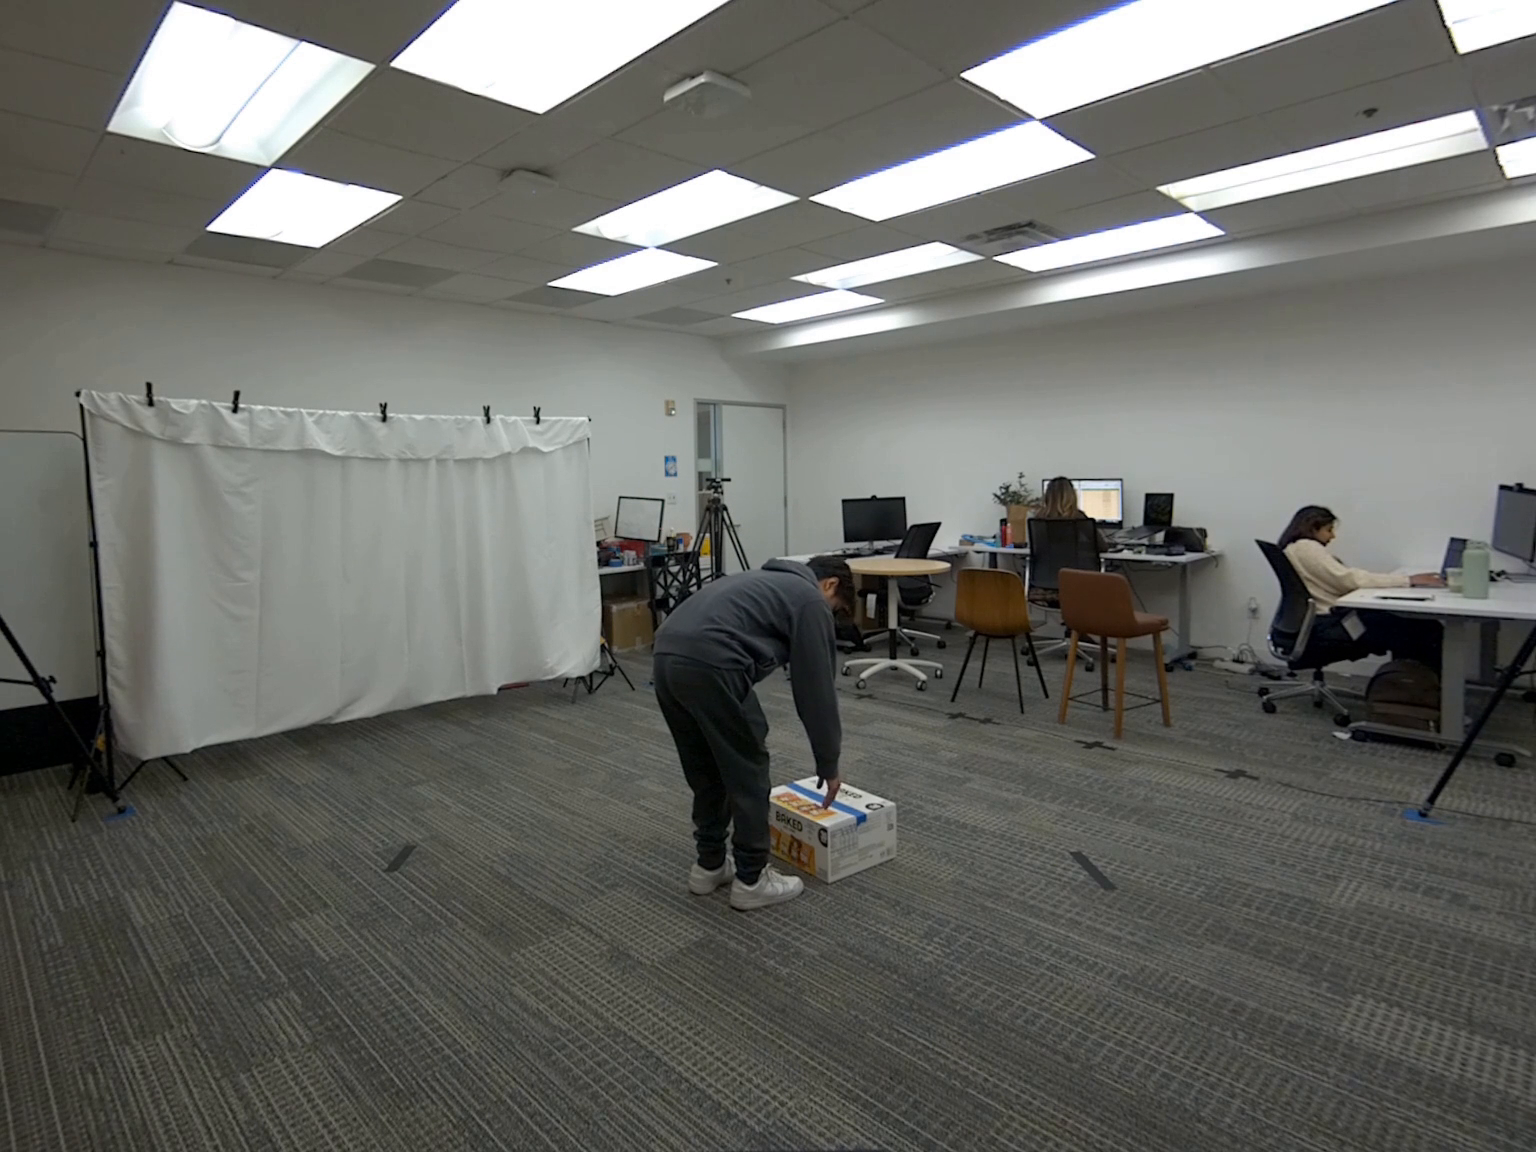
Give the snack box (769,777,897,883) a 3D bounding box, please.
[{"bbox_3d":[0.213,0.929,3.179,0.332,0.205,0.417,-6,7,-37],"label":"snack box"}]
